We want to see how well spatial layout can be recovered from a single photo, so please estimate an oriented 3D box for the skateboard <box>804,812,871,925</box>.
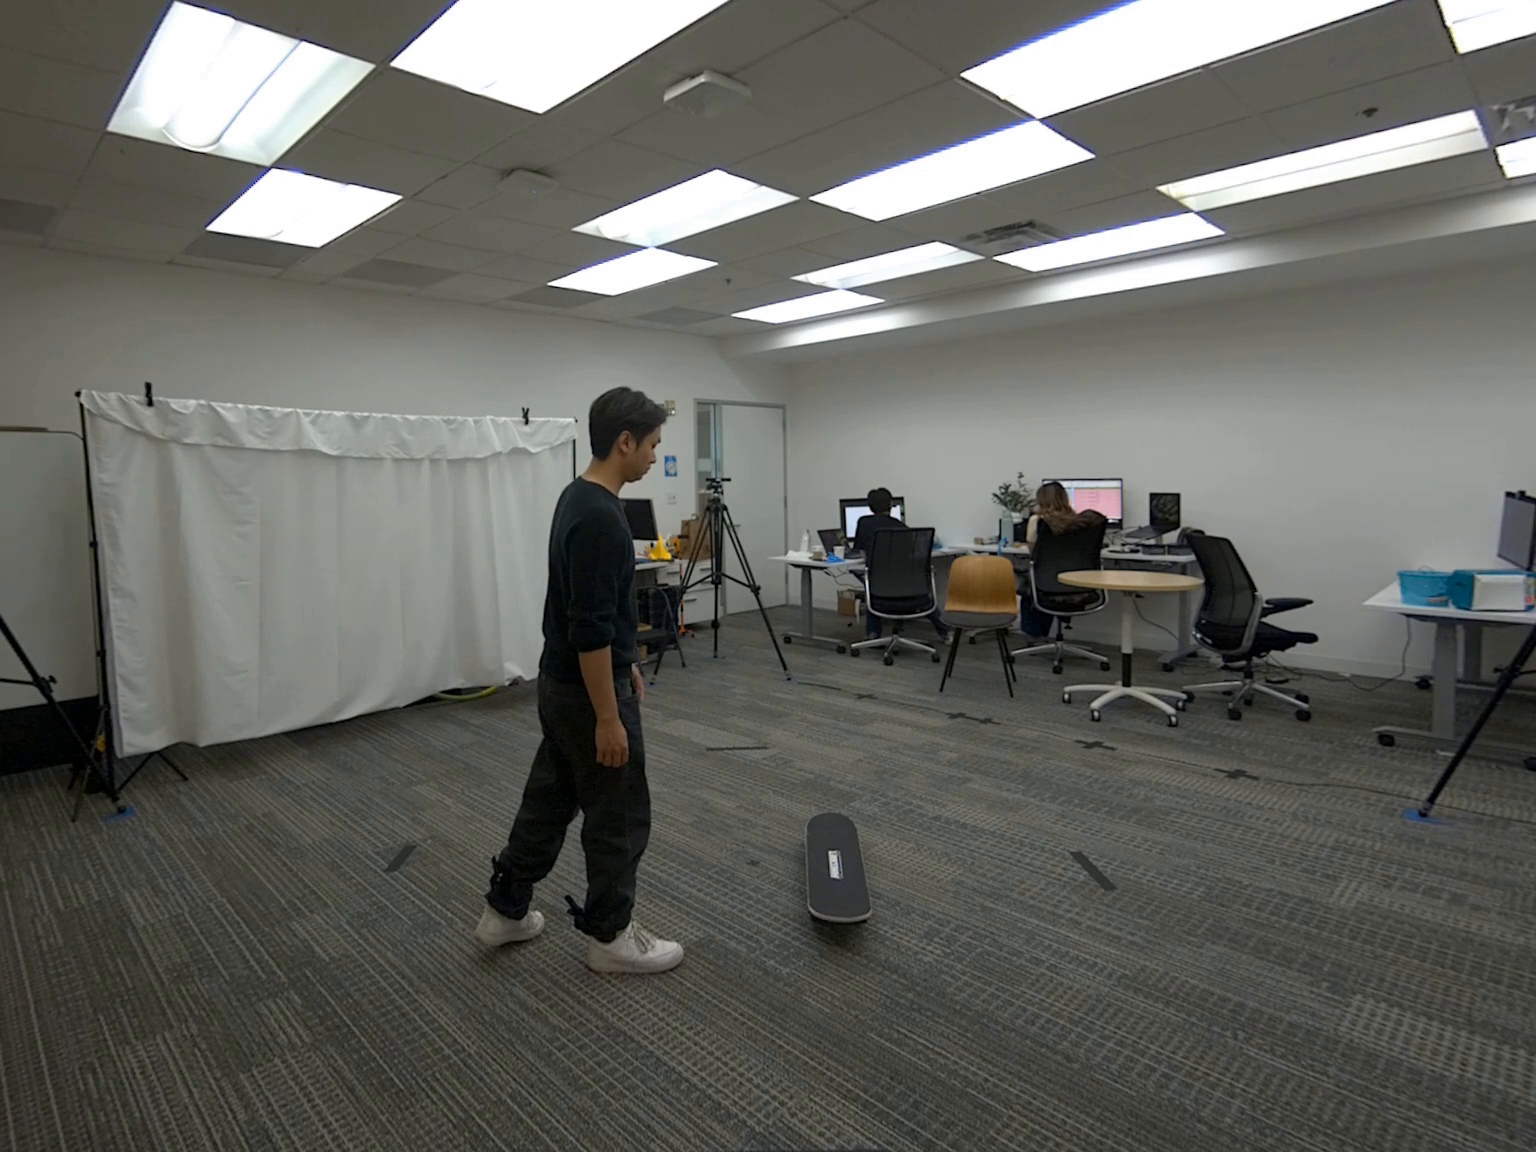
[{"bbox_3d":[0.236,1.007,2.893,0.194,0.110,0.787,0,7,1],"label":"skateboard"}]
